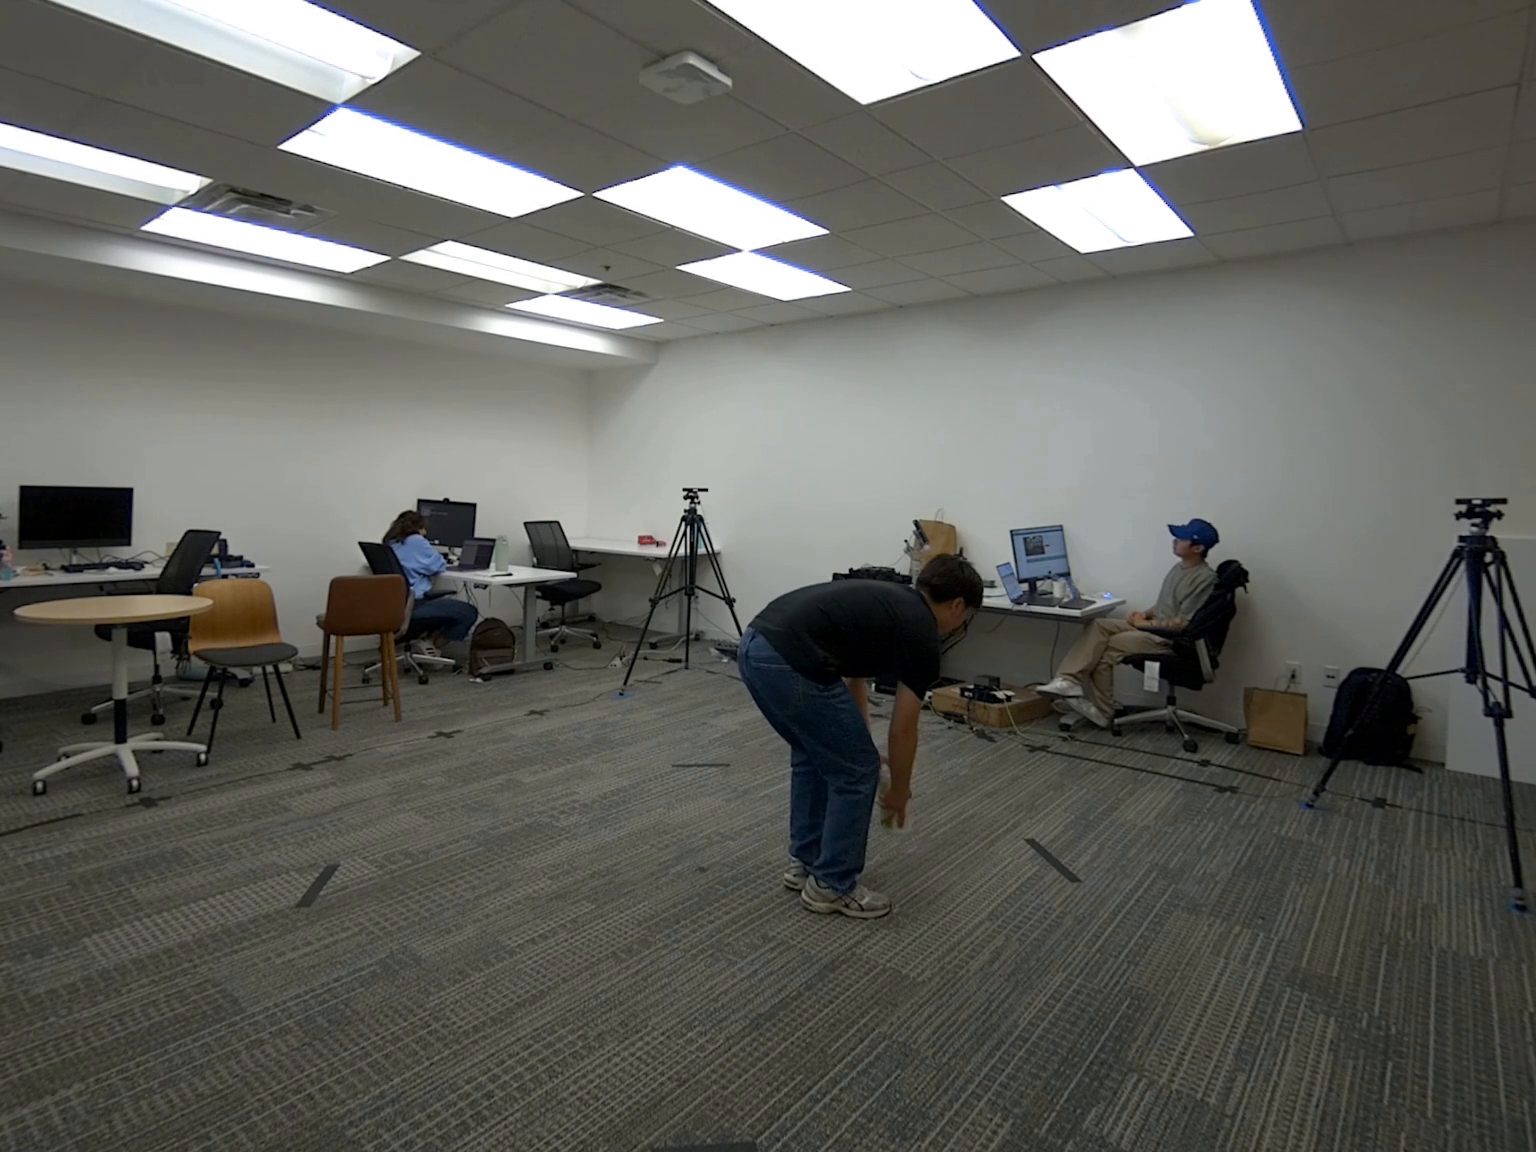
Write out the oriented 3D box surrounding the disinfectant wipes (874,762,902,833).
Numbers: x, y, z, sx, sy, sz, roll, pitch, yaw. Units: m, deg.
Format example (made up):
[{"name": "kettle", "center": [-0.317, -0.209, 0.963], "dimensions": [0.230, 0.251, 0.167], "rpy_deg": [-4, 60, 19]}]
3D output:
[{"name": "disinfectant wipes", "center": [0.443, 0.800, 3.060], "dimensions": [0.118, 0.217, 0.118], "rpy_deg": [-1, 1, -2]}]
